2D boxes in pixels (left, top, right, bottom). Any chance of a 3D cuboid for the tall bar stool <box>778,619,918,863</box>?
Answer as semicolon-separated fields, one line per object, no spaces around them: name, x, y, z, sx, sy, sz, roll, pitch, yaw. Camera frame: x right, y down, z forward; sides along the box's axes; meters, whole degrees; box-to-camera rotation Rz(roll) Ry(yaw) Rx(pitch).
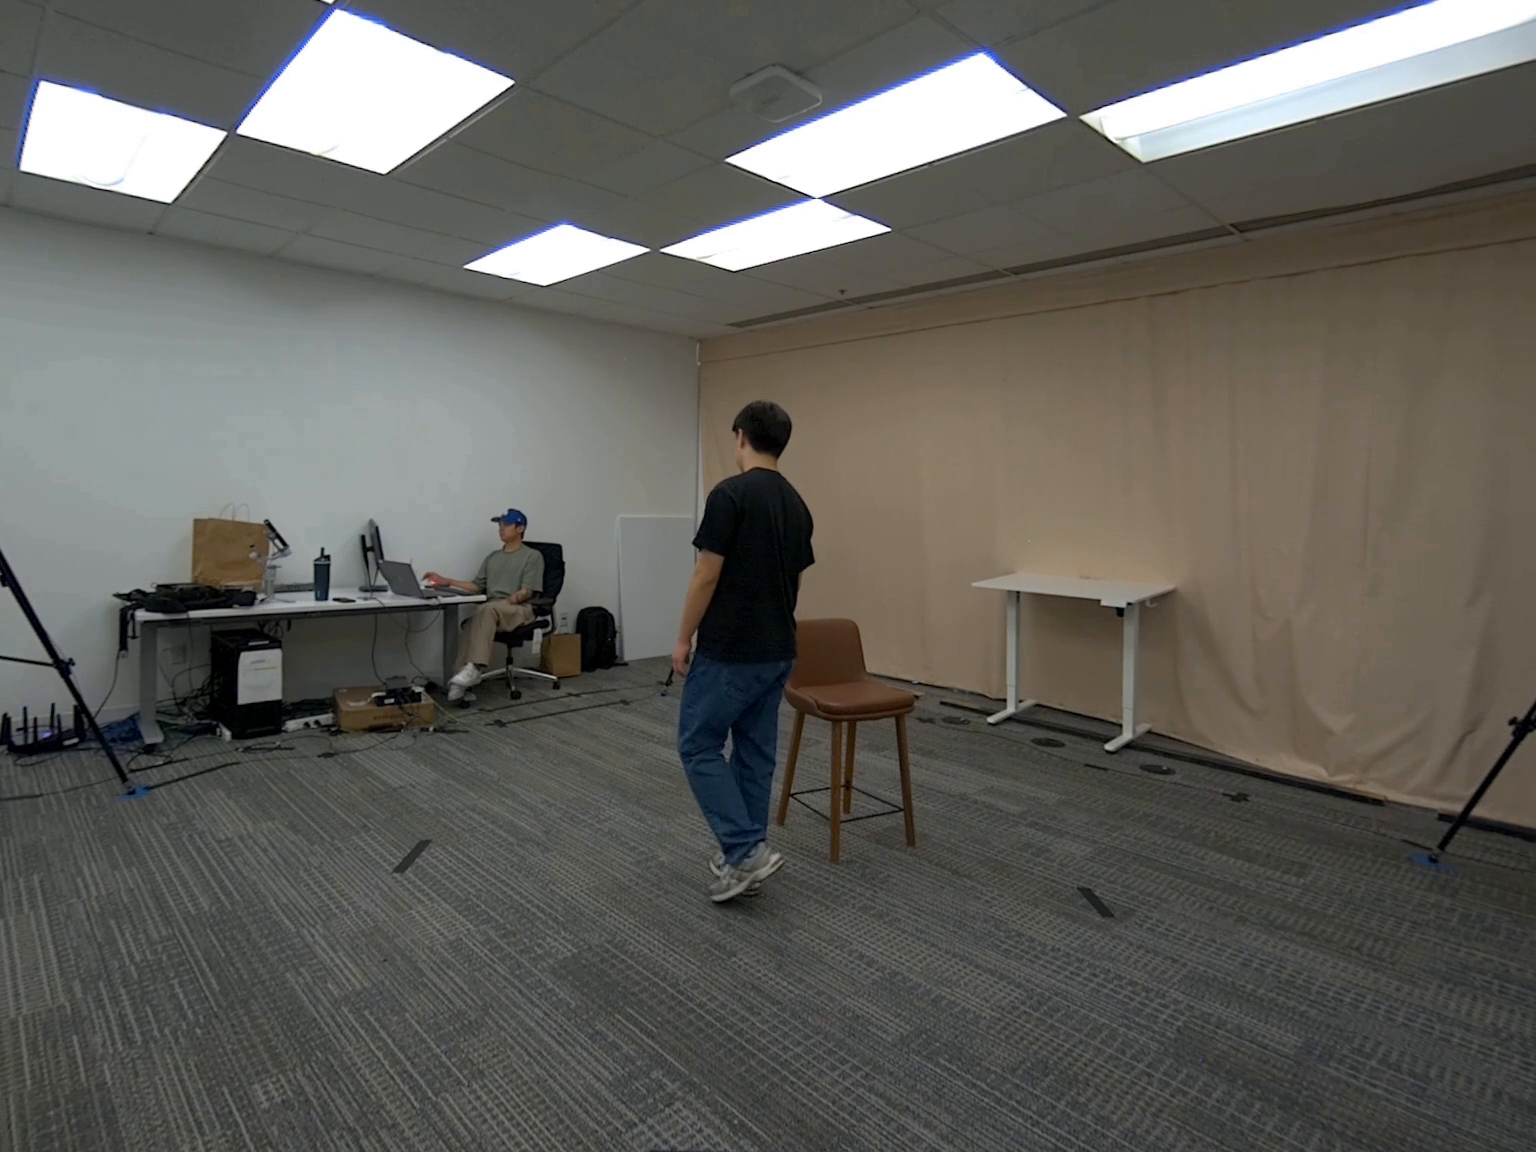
tall bar stool;0.320;0.649;3.498;0.447;0.889;0.477;0;1;-29
